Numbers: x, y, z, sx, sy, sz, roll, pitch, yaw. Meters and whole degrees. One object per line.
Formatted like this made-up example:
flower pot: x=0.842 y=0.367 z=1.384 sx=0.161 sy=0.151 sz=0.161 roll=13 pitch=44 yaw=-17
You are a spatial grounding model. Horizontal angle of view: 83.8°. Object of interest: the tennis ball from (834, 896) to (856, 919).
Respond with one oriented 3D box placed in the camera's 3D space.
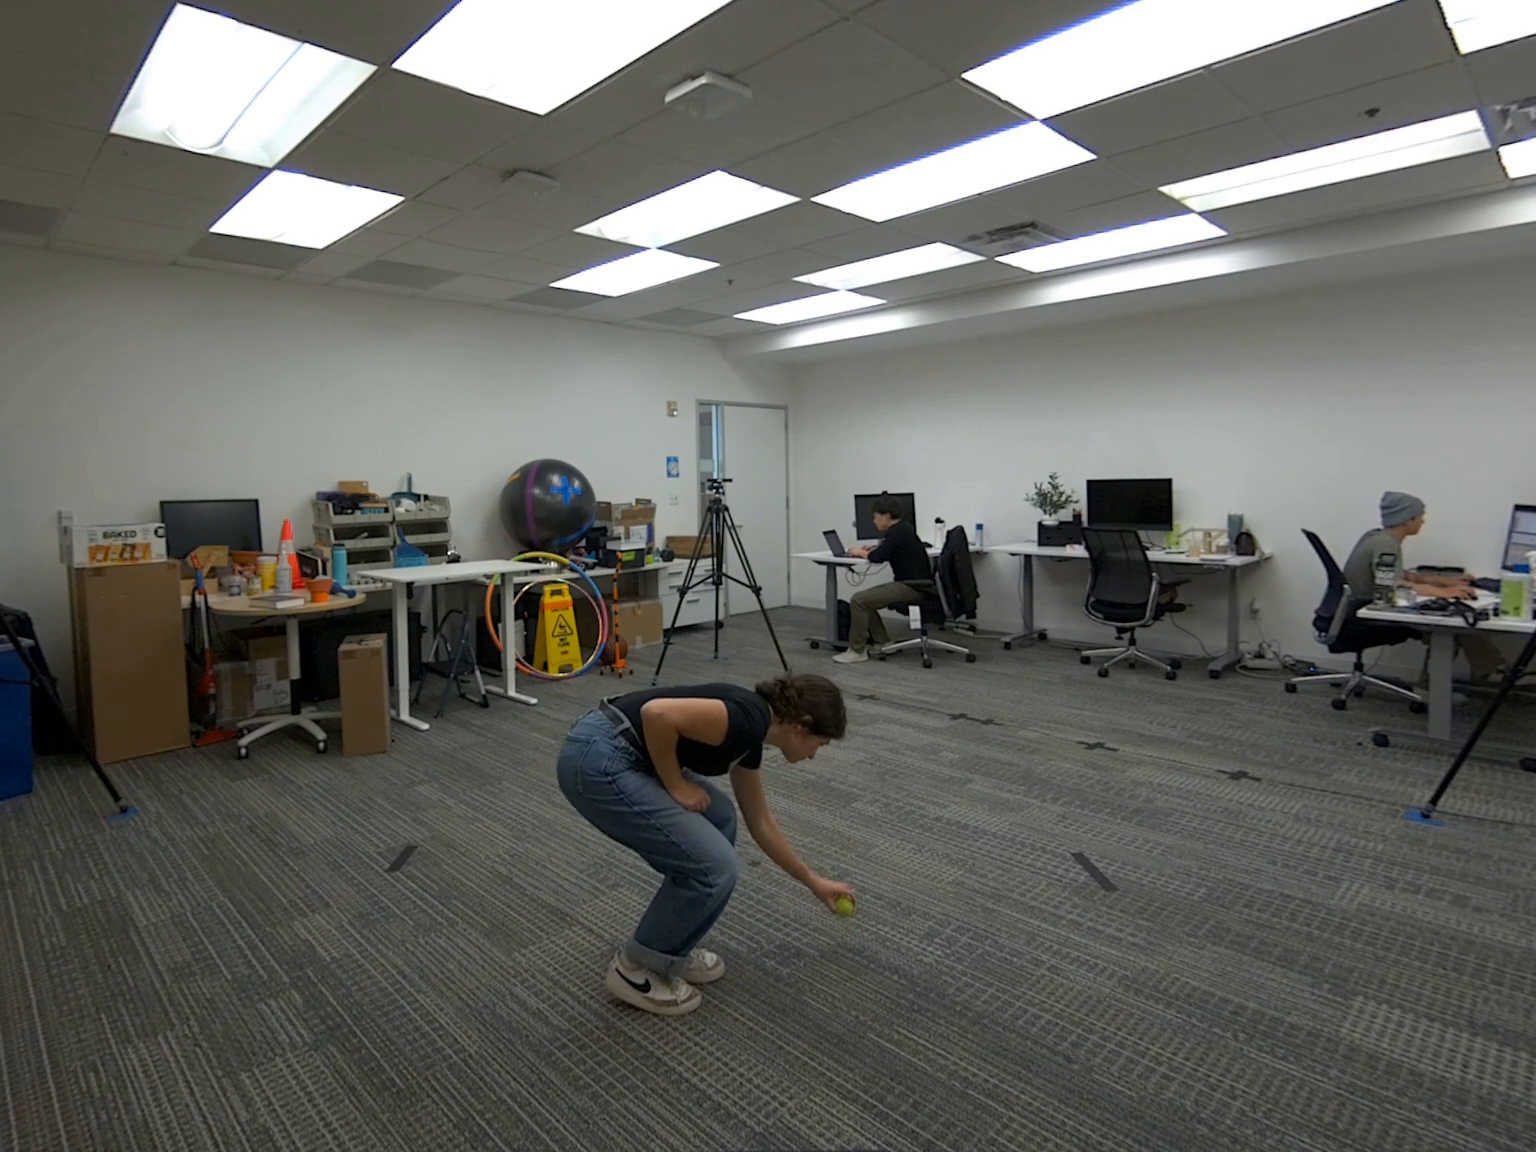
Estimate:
tennis ball: x=0.221 y=0.965 z=2.548 sx=0.066 sy=0.066 sz=0.067 roll=-1 pitch=5 yaw=-2
